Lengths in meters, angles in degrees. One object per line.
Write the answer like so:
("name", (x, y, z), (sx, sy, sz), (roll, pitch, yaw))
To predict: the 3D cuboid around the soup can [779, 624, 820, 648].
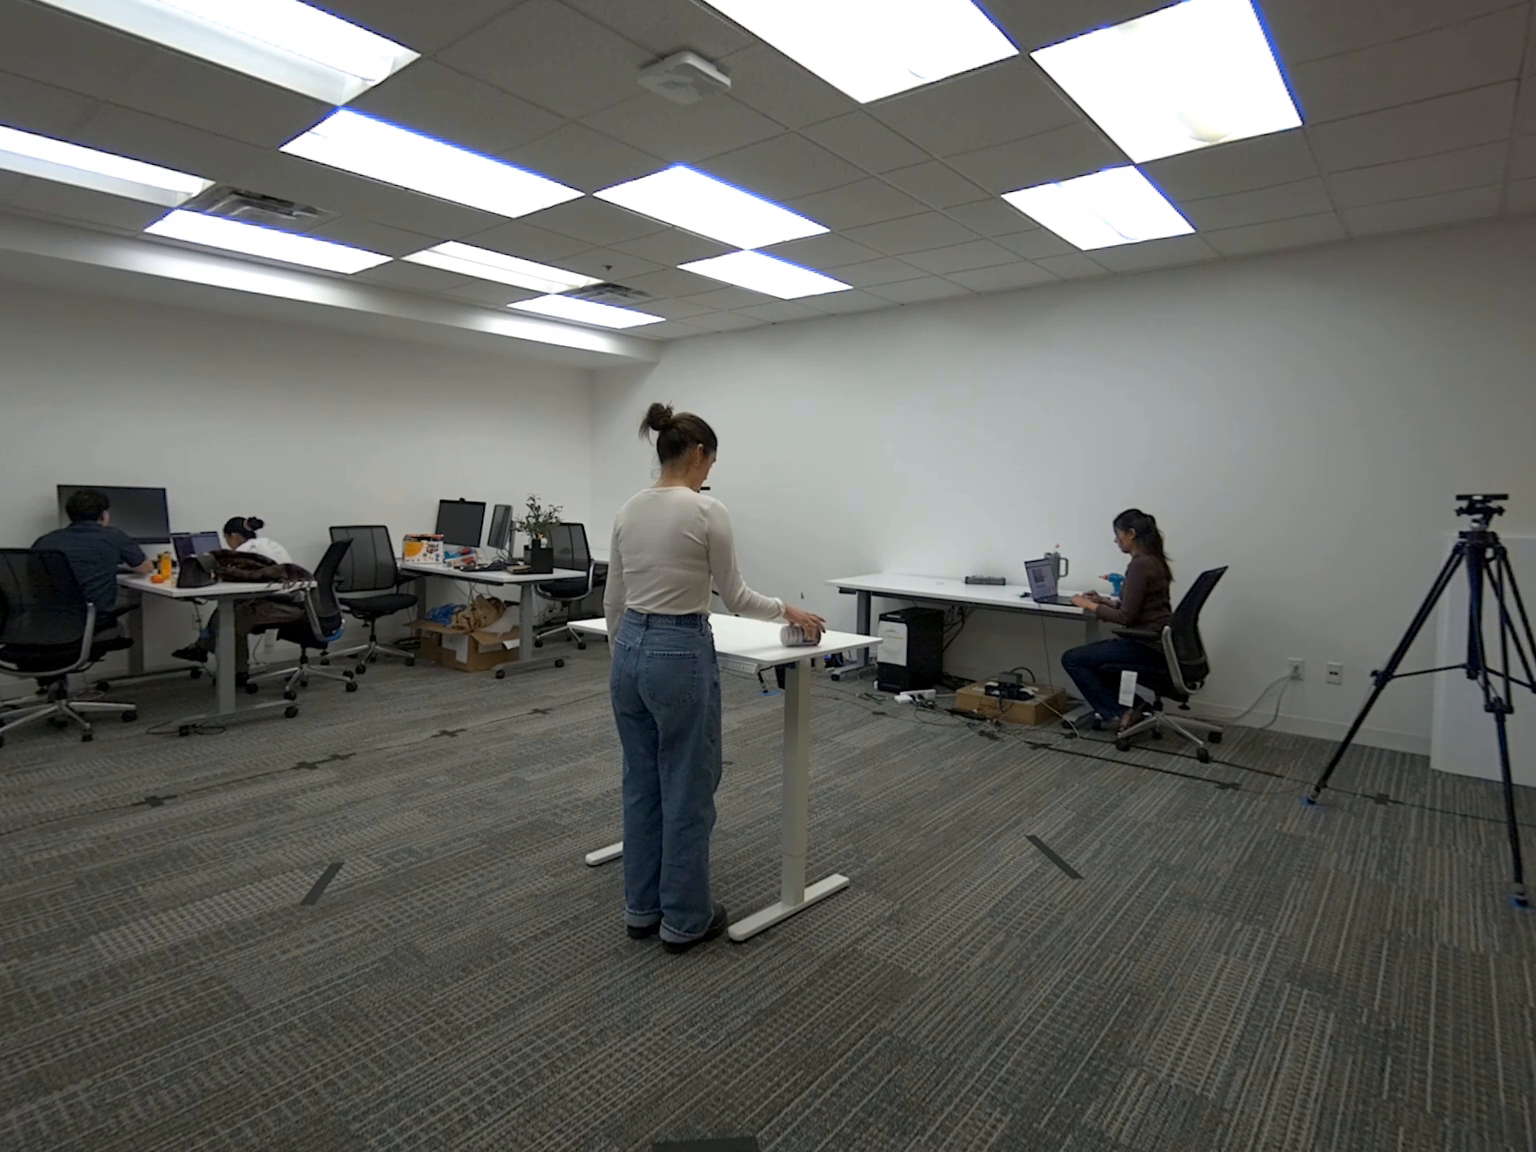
("soup can", (0.096, 0.190, 2.731), (0.119, 0.067, 0.068), (2, 4, -15))
